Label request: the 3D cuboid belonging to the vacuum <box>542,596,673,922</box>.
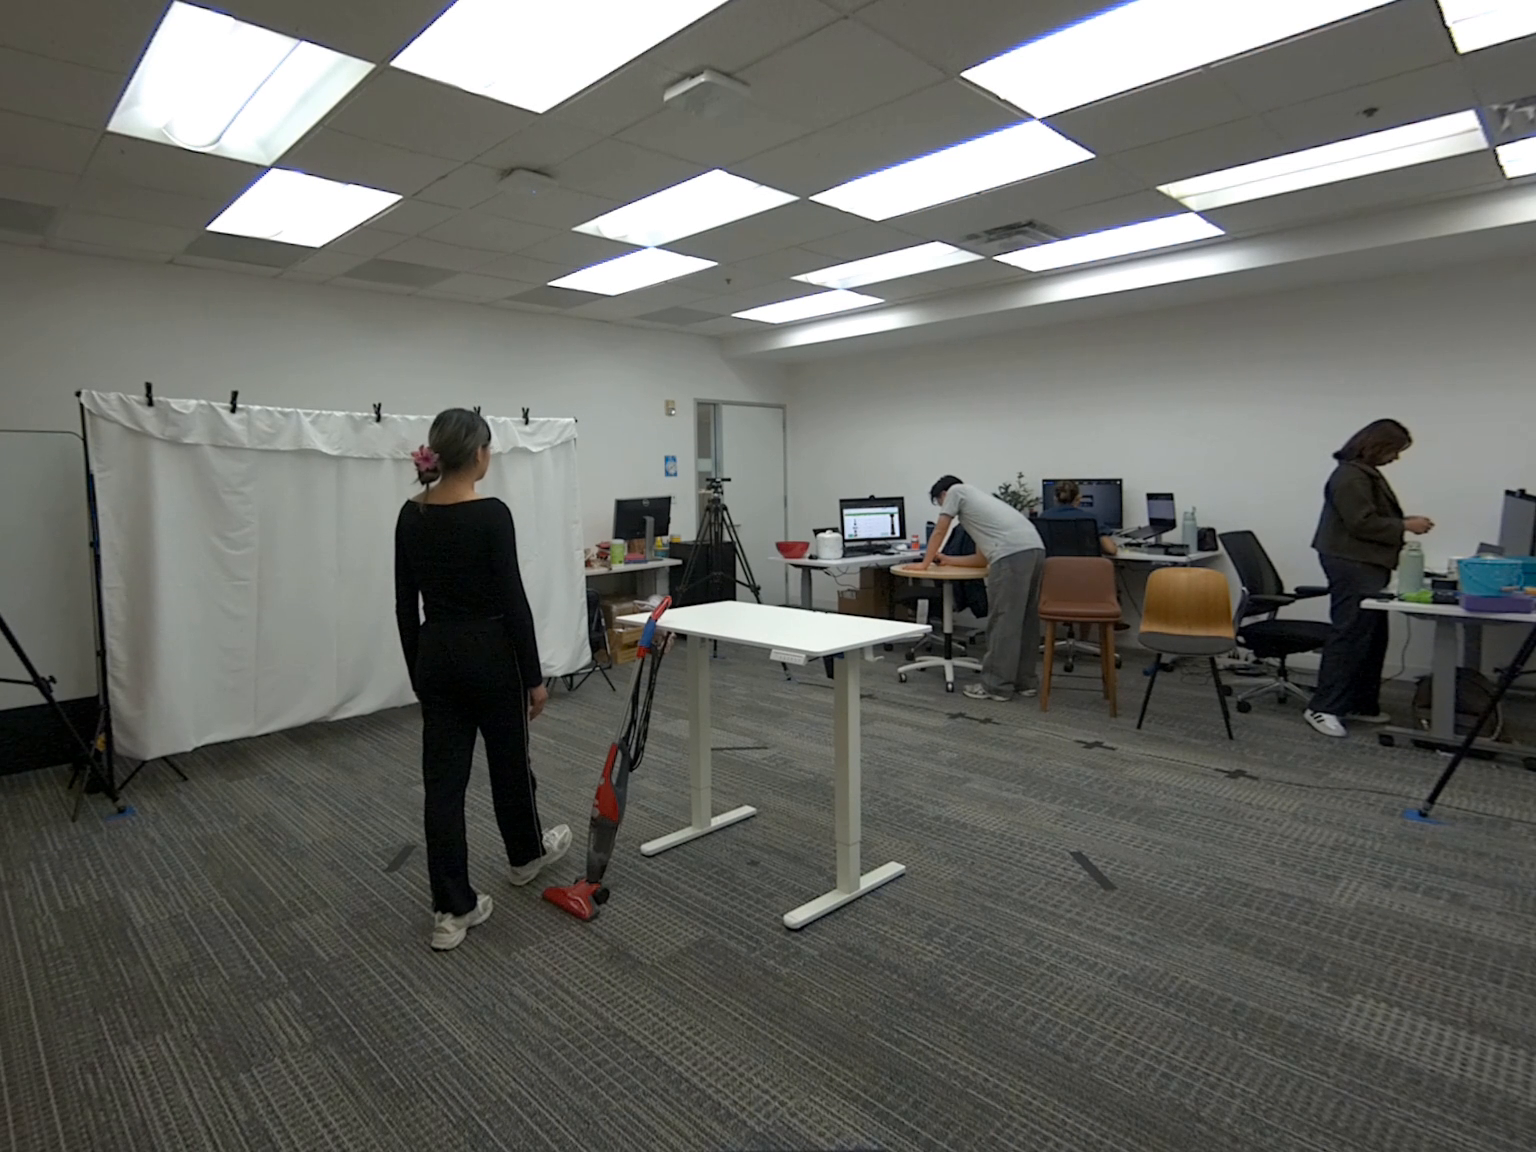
[{"bbox_3d":[-0.495,0.588,2.957,0.139,1.059,0.259,26,-18,-39],"label":"vacuum"}]
